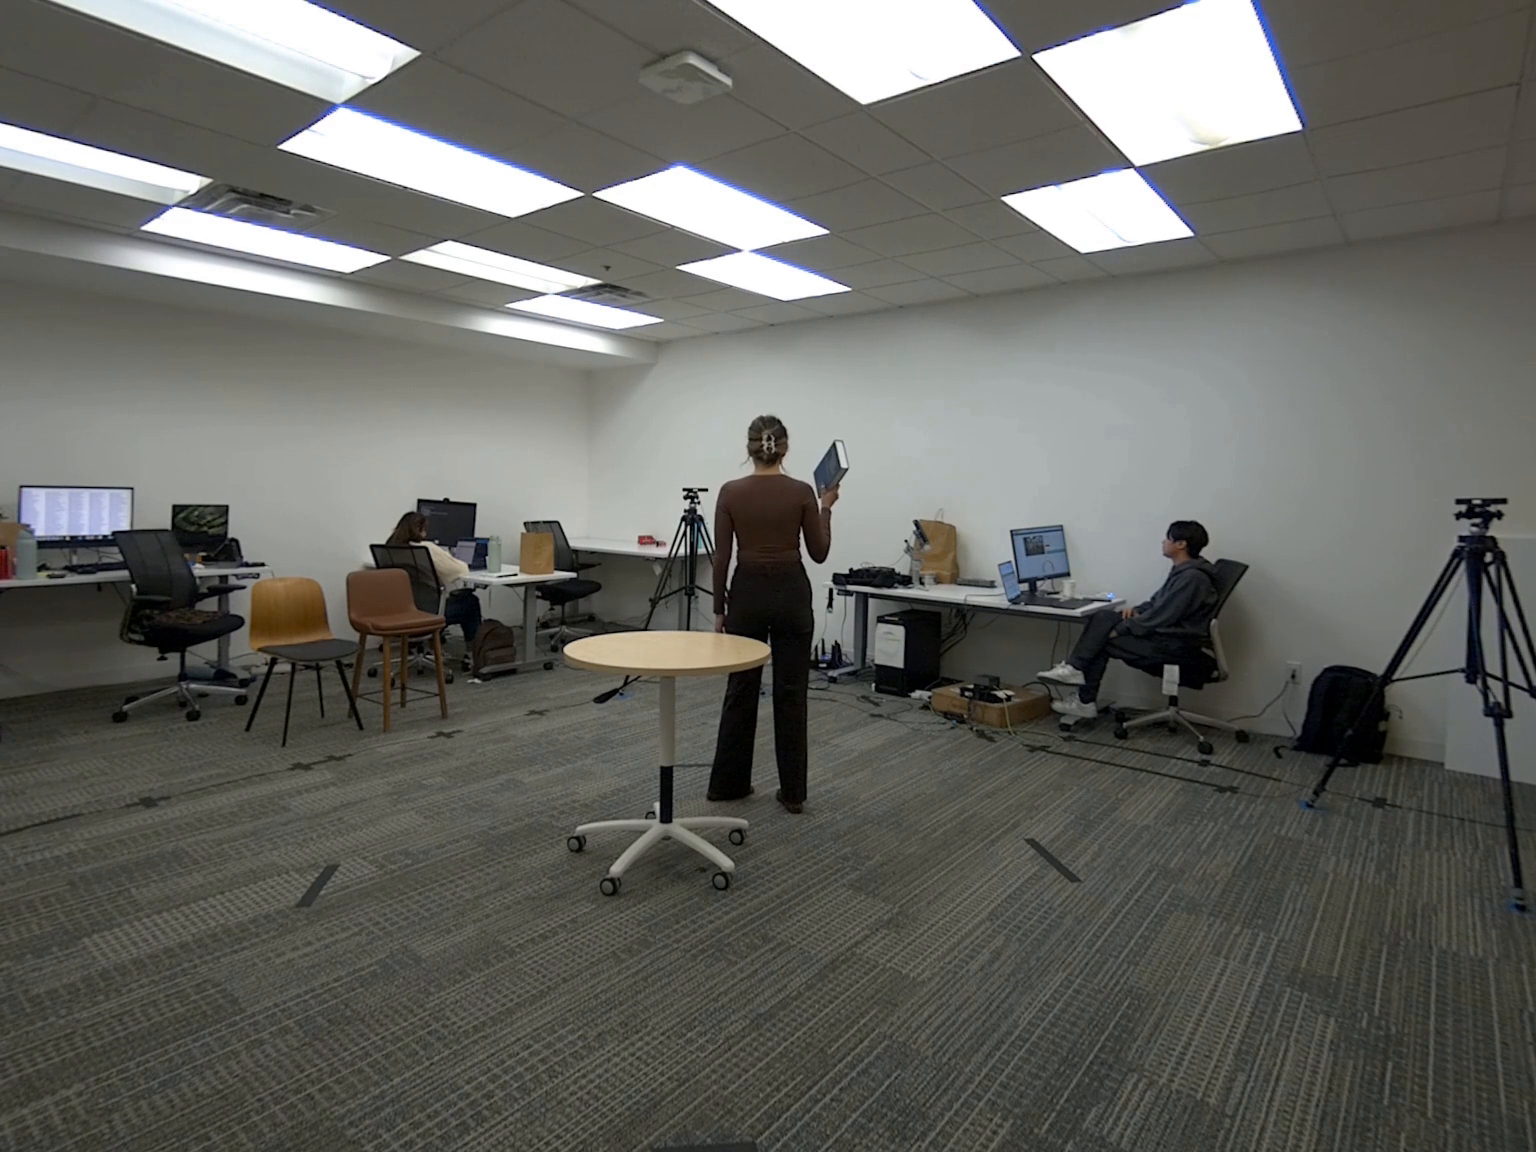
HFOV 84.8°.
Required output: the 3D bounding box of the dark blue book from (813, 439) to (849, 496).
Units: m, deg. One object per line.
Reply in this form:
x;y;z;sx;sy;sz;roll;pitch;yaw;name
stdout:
0.272;-0.490;3.909;0.044;0.168;0.243;3;-33;-21;dark blue book
